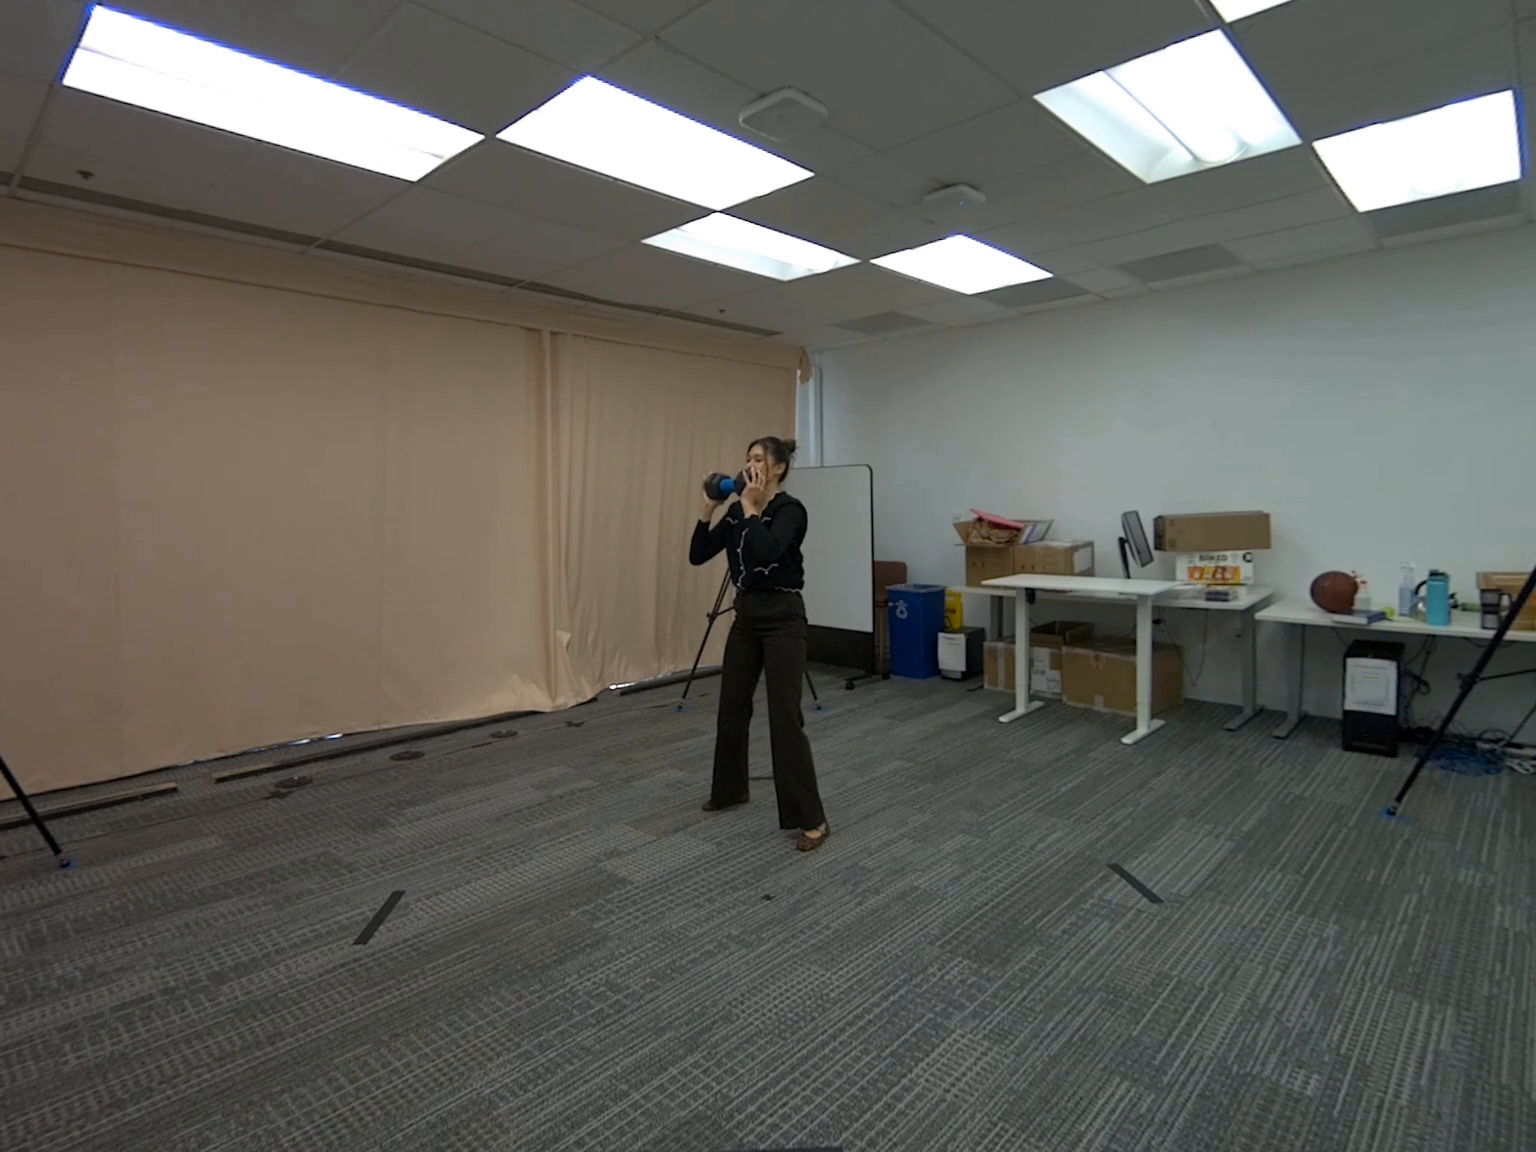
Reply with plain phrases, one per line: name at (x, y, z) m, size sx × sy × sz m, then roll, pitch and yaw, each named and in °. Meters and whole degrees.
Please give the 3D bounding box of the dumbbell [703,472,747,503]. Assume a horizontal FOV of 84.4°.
dumbbell at (-0.137, -0.384, 3.578) m, size 0.303 × 0.106 × 0.122 m, roll 5°, pitch 51°, yaw 53°
